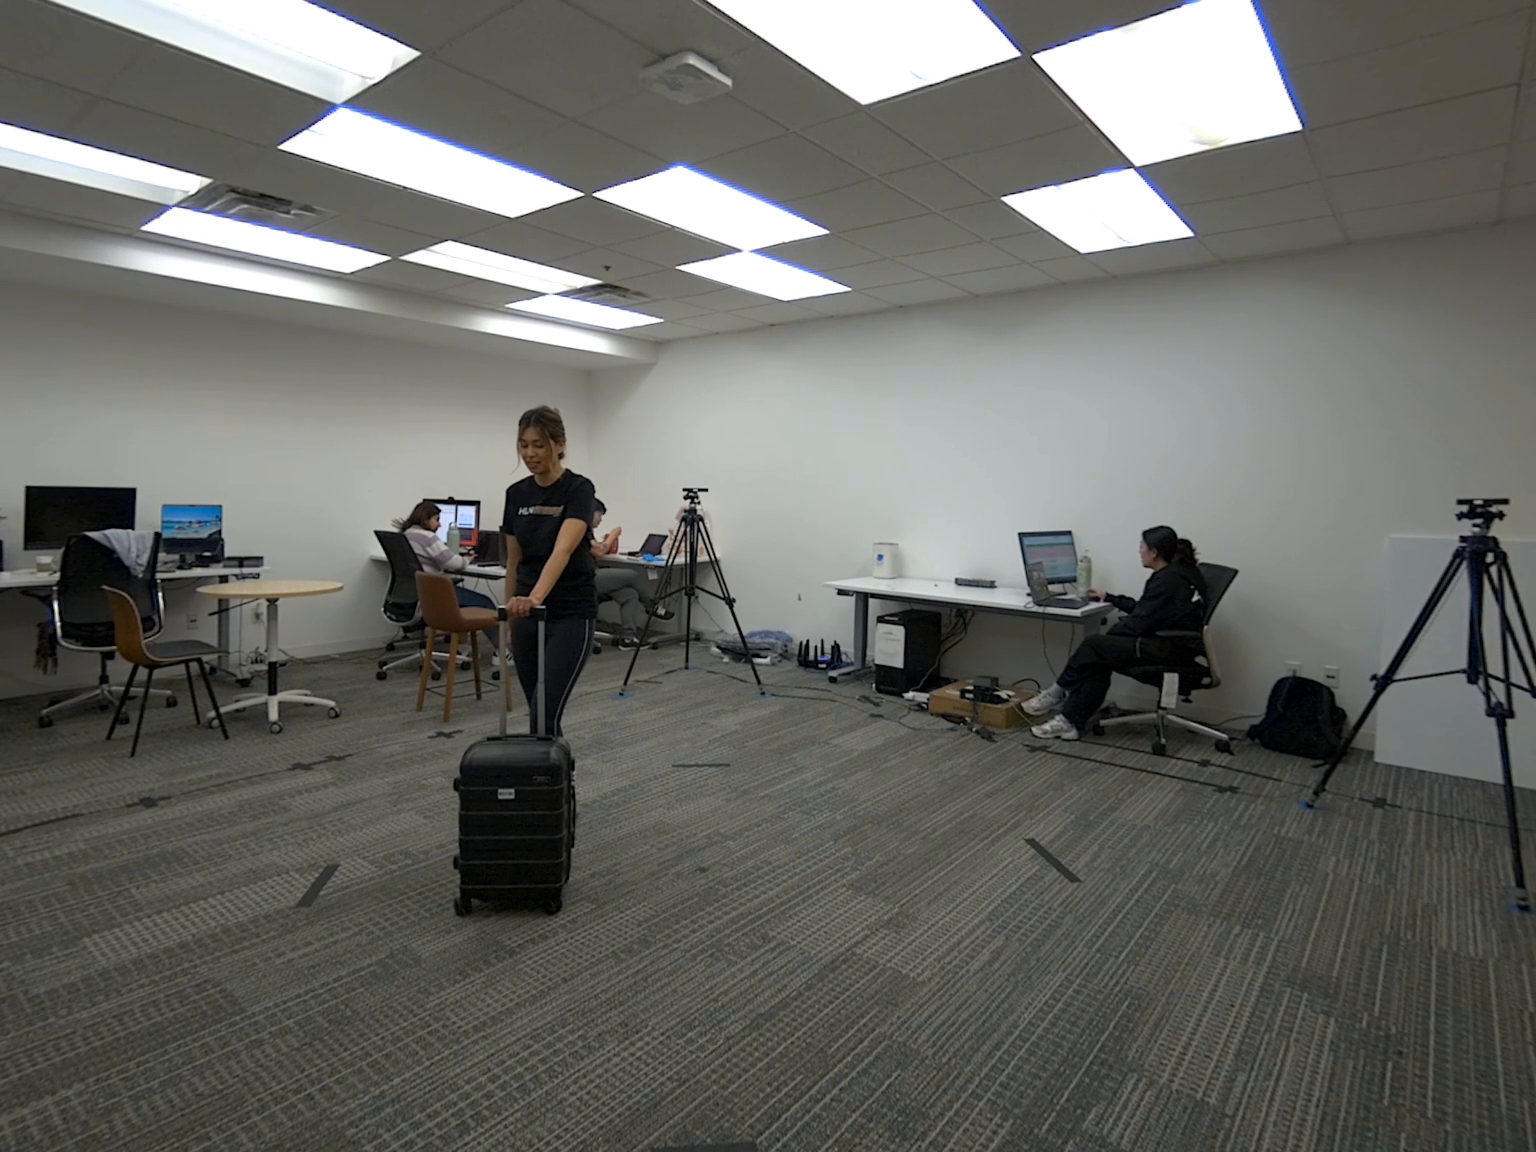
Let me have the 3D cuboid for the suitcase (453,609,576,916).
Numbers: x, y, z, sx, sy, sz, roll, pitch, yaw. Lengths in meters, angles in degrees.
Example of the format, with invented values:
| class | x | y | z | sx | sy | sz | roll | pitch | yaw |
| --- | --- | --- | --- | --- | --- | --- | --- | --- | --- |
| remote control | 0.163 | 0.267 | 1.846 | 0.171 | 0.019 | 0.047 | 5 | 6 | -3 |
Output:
| class | x | y | z | sx | sy | sz | roll | pitch | yaw |
| --- | --- | --- | --- | --- | --- | --- | --- | --- | --- |
| suitcase | -0.845 | 0.610 | 2.817 | 0.383 | 0.971 | 0.259 | 1 | 8 | -2 |
